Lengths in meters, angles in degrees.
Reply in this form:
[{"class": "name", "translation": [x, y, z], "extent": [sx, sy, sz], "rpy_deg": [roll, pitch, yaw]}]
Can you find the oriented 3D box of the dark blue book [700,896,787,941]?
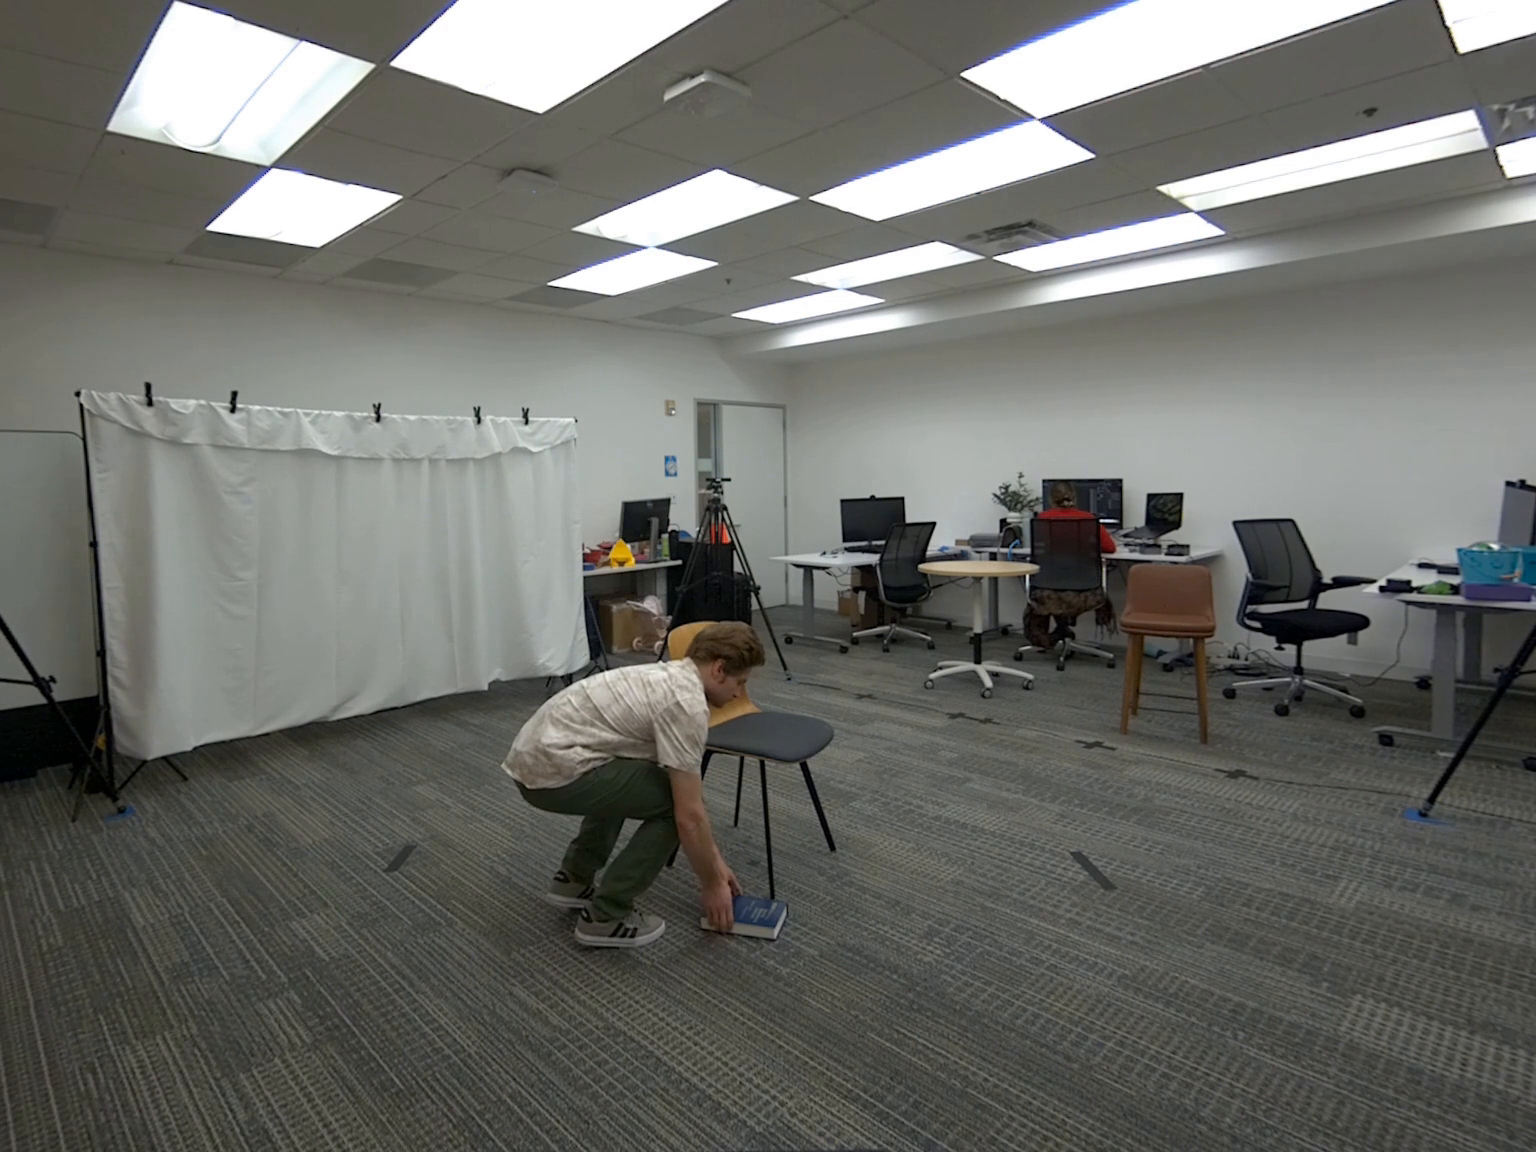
[{"class": "dark blue book", "translation": [-0.073, 1.072, 2.681], "extent": [0.249, 0.045, 0.162], "rpy_deg": [2, 8, 17]}]
